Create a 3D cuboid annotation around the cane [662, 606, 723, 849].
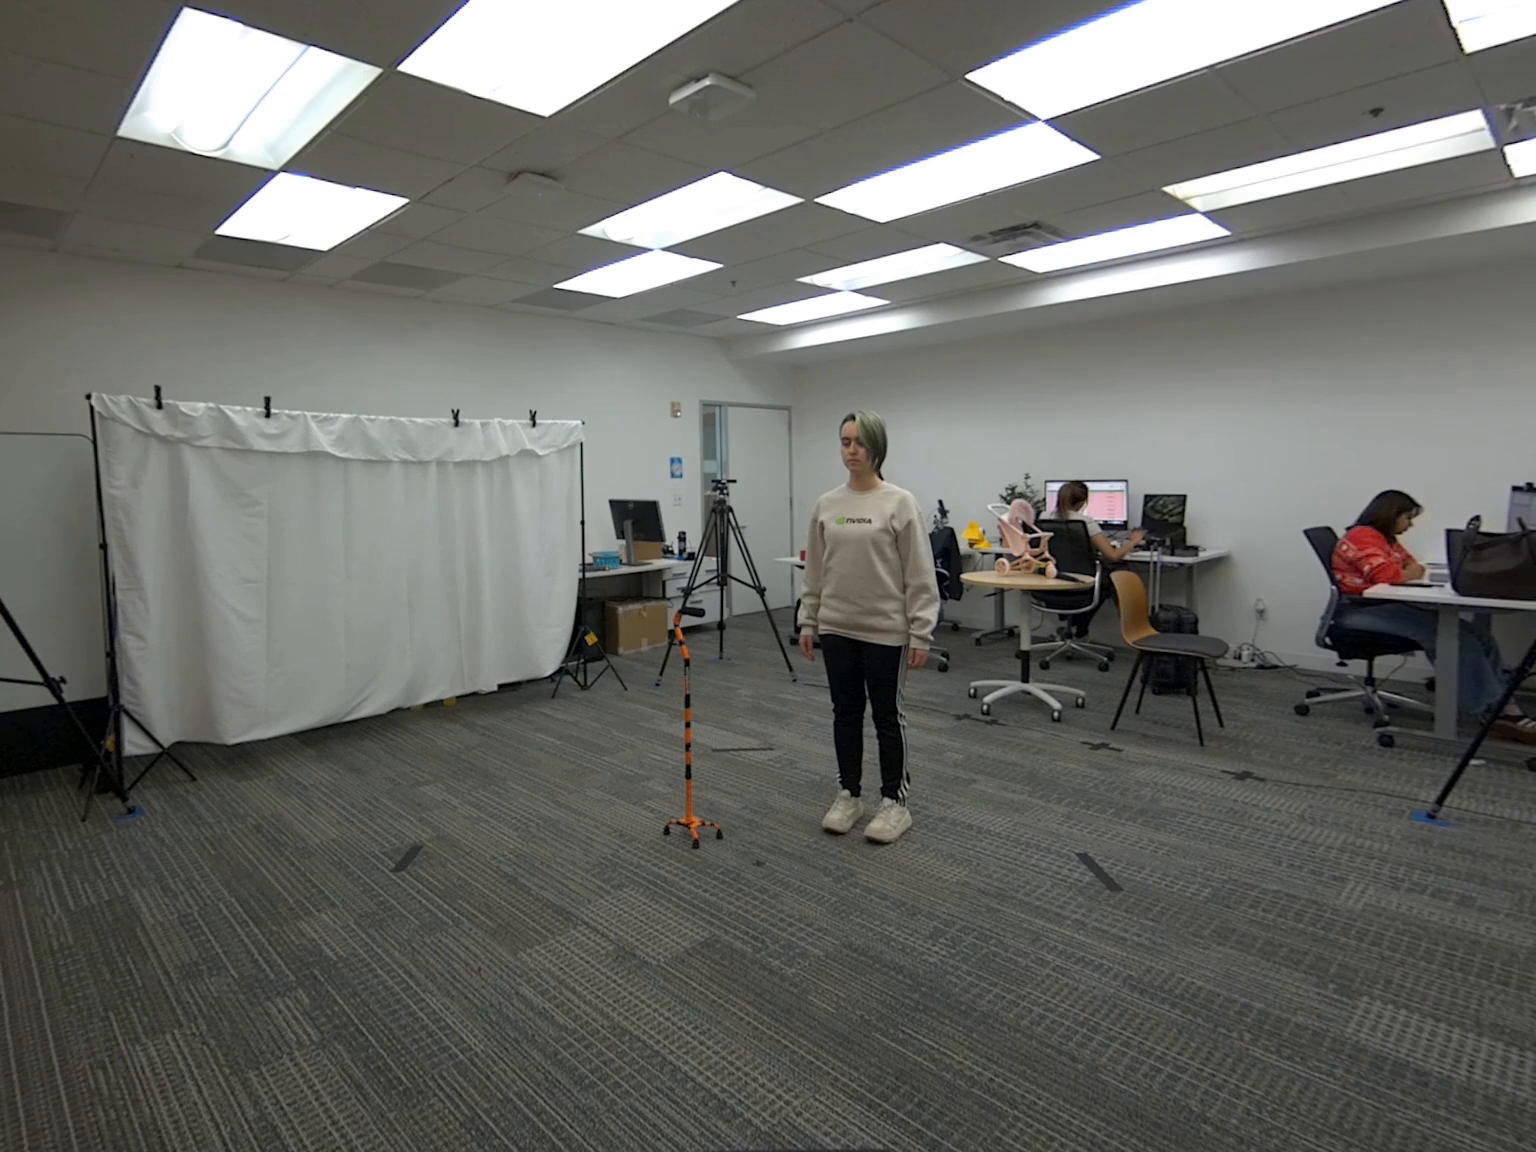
[{"bbox_3d":[-0.298,0.571,3.322,0.147,0.904,0.213,-5,6,-43],"label":"cane"}]
